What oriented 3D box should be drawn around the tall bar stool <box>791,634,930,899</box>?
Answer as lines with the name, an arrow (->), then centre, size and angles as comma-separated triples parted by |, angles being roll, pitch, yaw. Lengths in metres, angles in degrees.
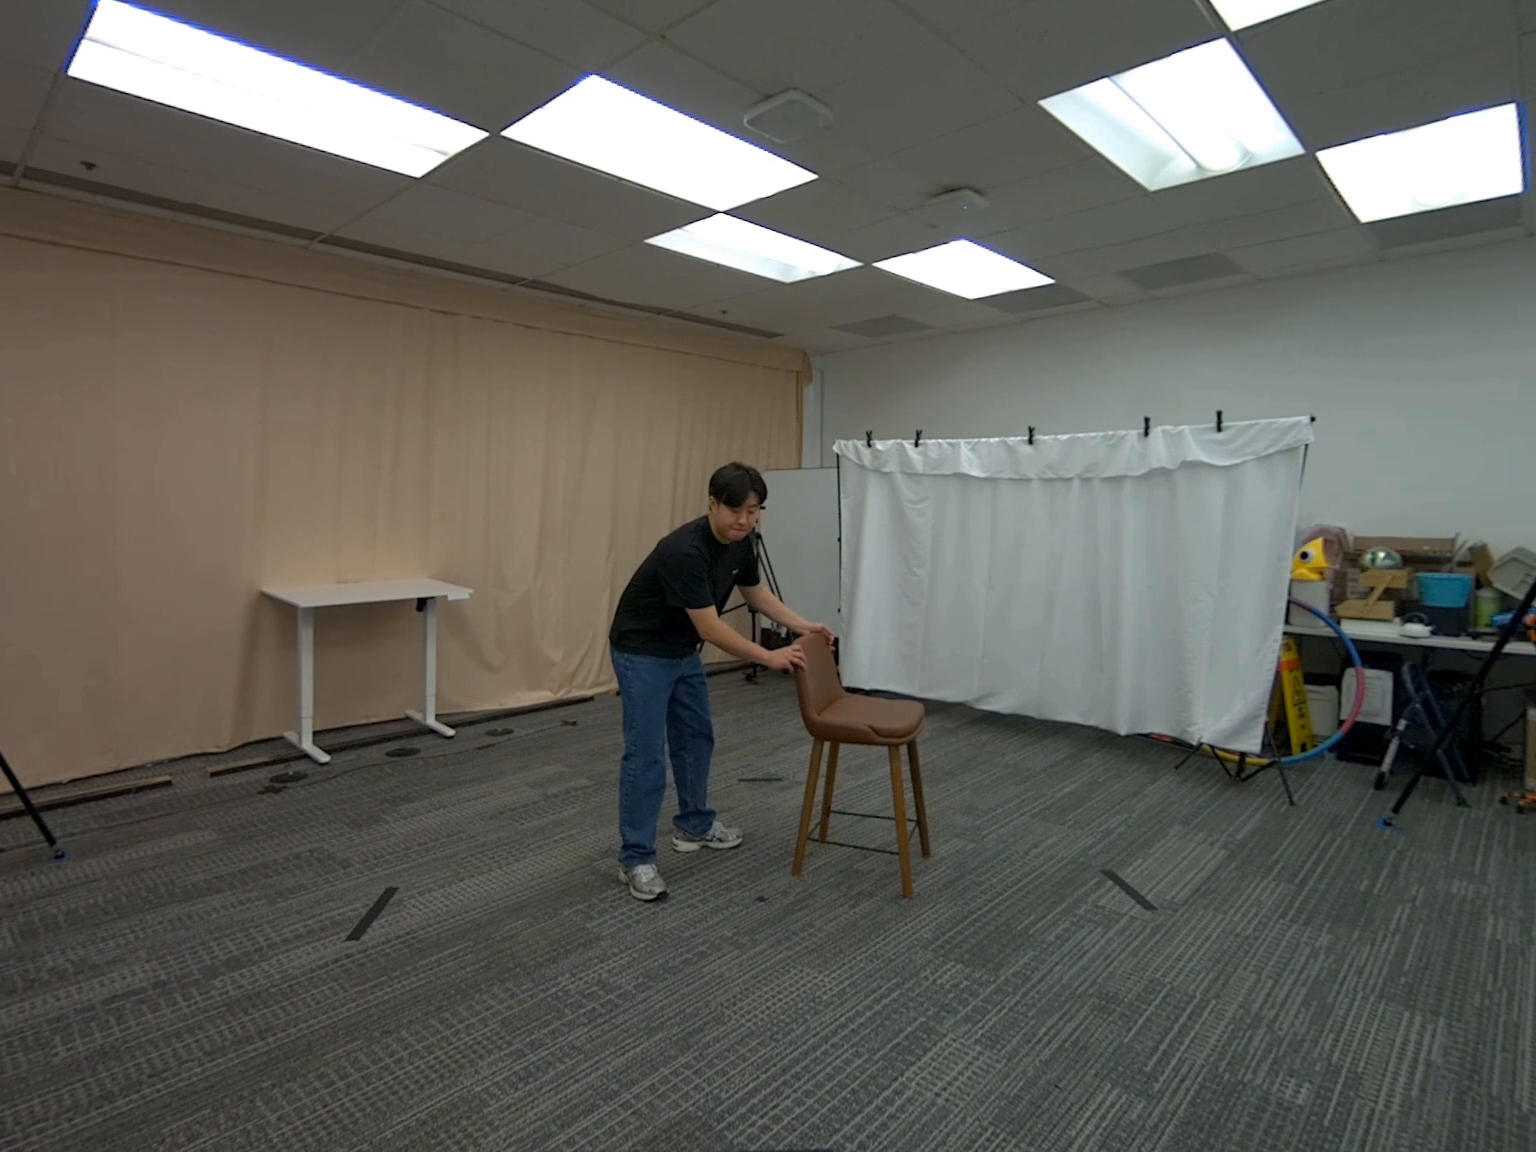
tall bar stool -> 0.354, 0.680, 3.229 | 0.479, 0.888, 0.446 | -1, 3, 24
